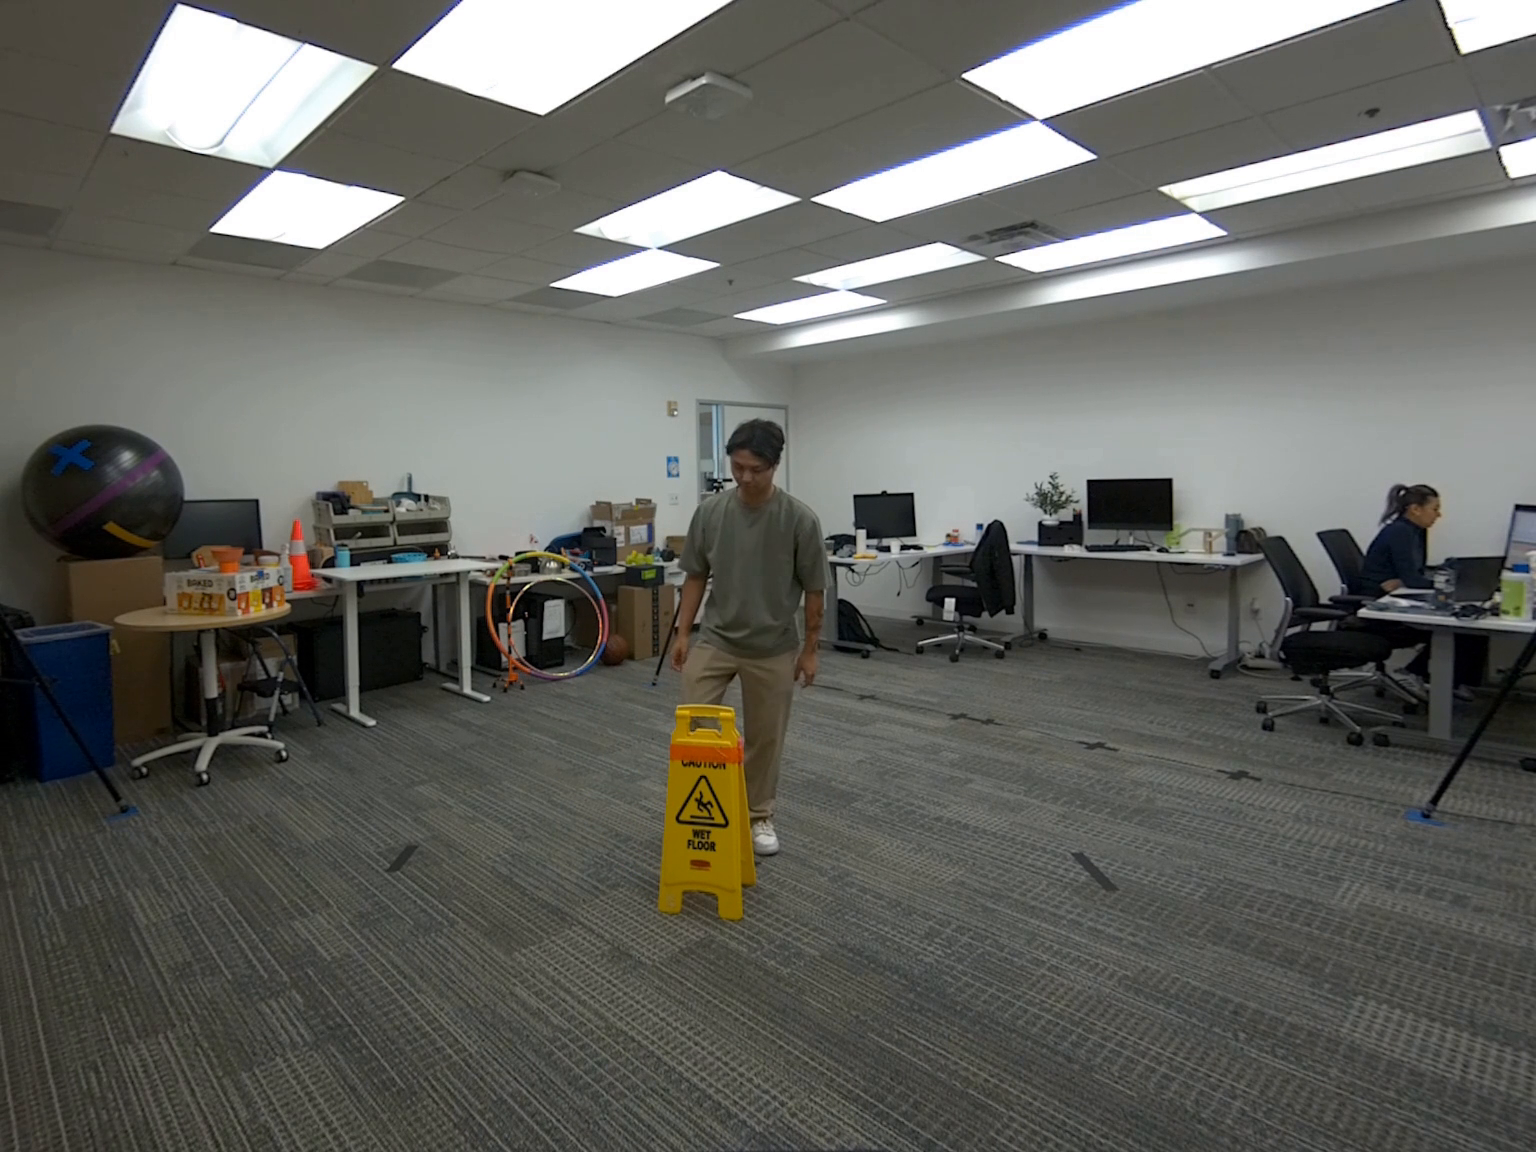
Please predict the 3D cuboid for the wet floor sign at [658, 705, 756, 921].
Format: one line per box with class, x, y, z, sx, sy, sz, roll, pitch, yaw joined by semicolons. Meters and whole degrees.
wet floor sign;-0.194;0.760;2.831;0.285;0.643;0.288;-1;5;11
